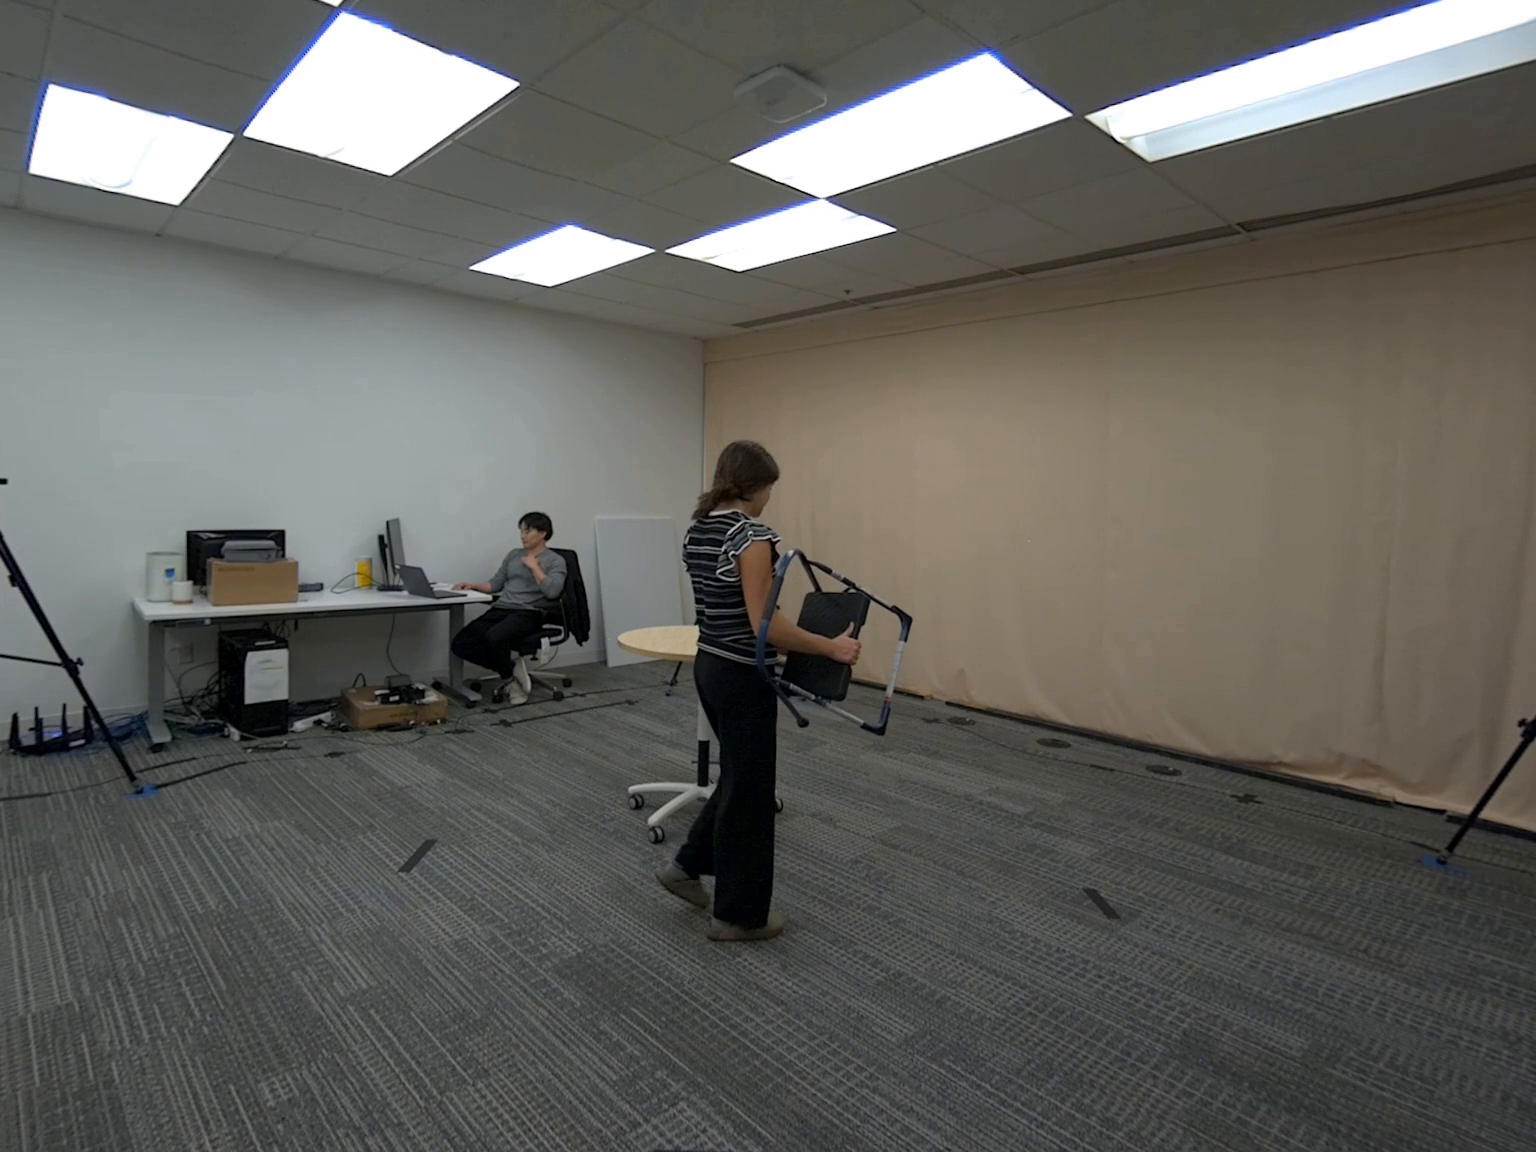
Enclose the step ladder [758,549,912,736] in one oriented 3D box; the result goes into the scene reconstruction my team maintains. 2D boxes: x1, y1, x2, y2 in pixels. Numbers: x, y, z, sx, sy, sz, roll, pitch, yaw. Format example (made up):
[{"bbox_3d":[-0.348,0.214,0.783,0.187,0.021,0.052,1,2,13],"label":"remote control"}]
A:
[{"bbox_3d":[0.123,0.190,2.650,0.357,0.434,0.587,-1,-28,41],"label":"step ladder"}]
